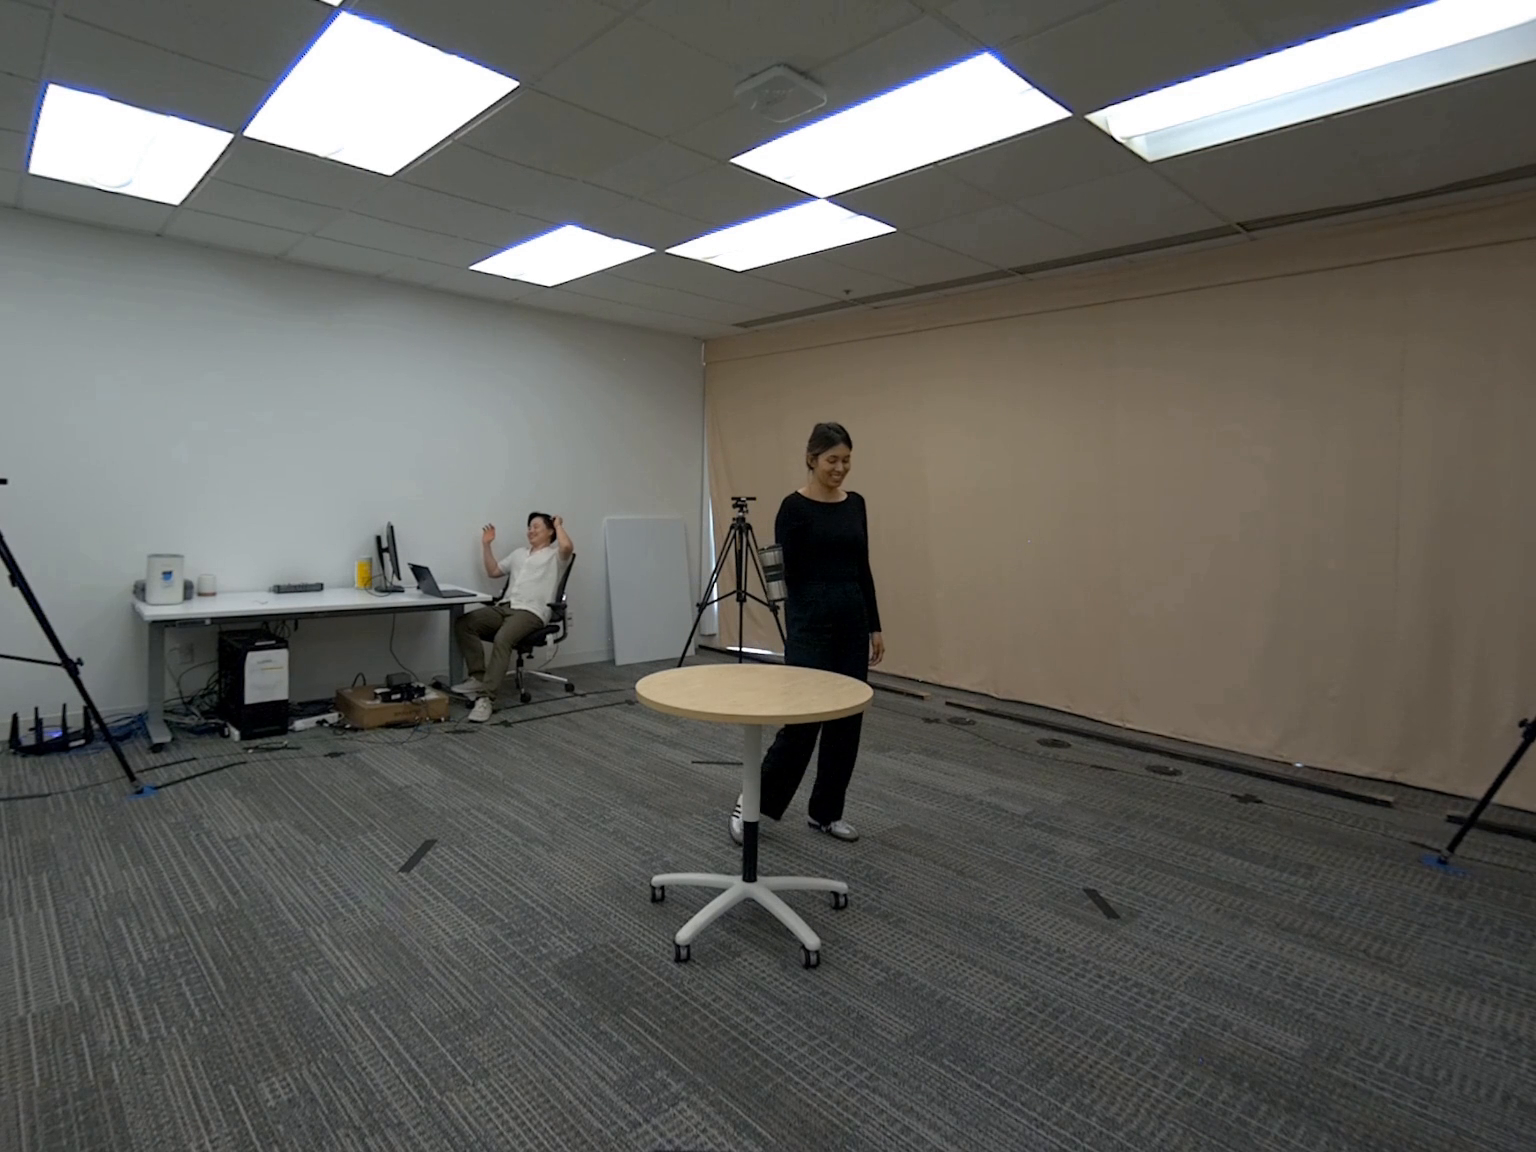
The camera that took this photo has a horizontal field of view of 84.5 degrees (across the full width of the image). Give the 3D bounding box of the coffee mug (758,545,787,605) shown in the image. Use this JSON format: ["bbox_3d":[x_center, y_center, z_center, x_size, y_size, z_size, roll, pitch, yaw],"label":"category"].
[{"bbox_3d":[0.015,-0.001,3.028,0.089,0.203,0.119,-10,-2,33],"label":"coffee mug"}]
